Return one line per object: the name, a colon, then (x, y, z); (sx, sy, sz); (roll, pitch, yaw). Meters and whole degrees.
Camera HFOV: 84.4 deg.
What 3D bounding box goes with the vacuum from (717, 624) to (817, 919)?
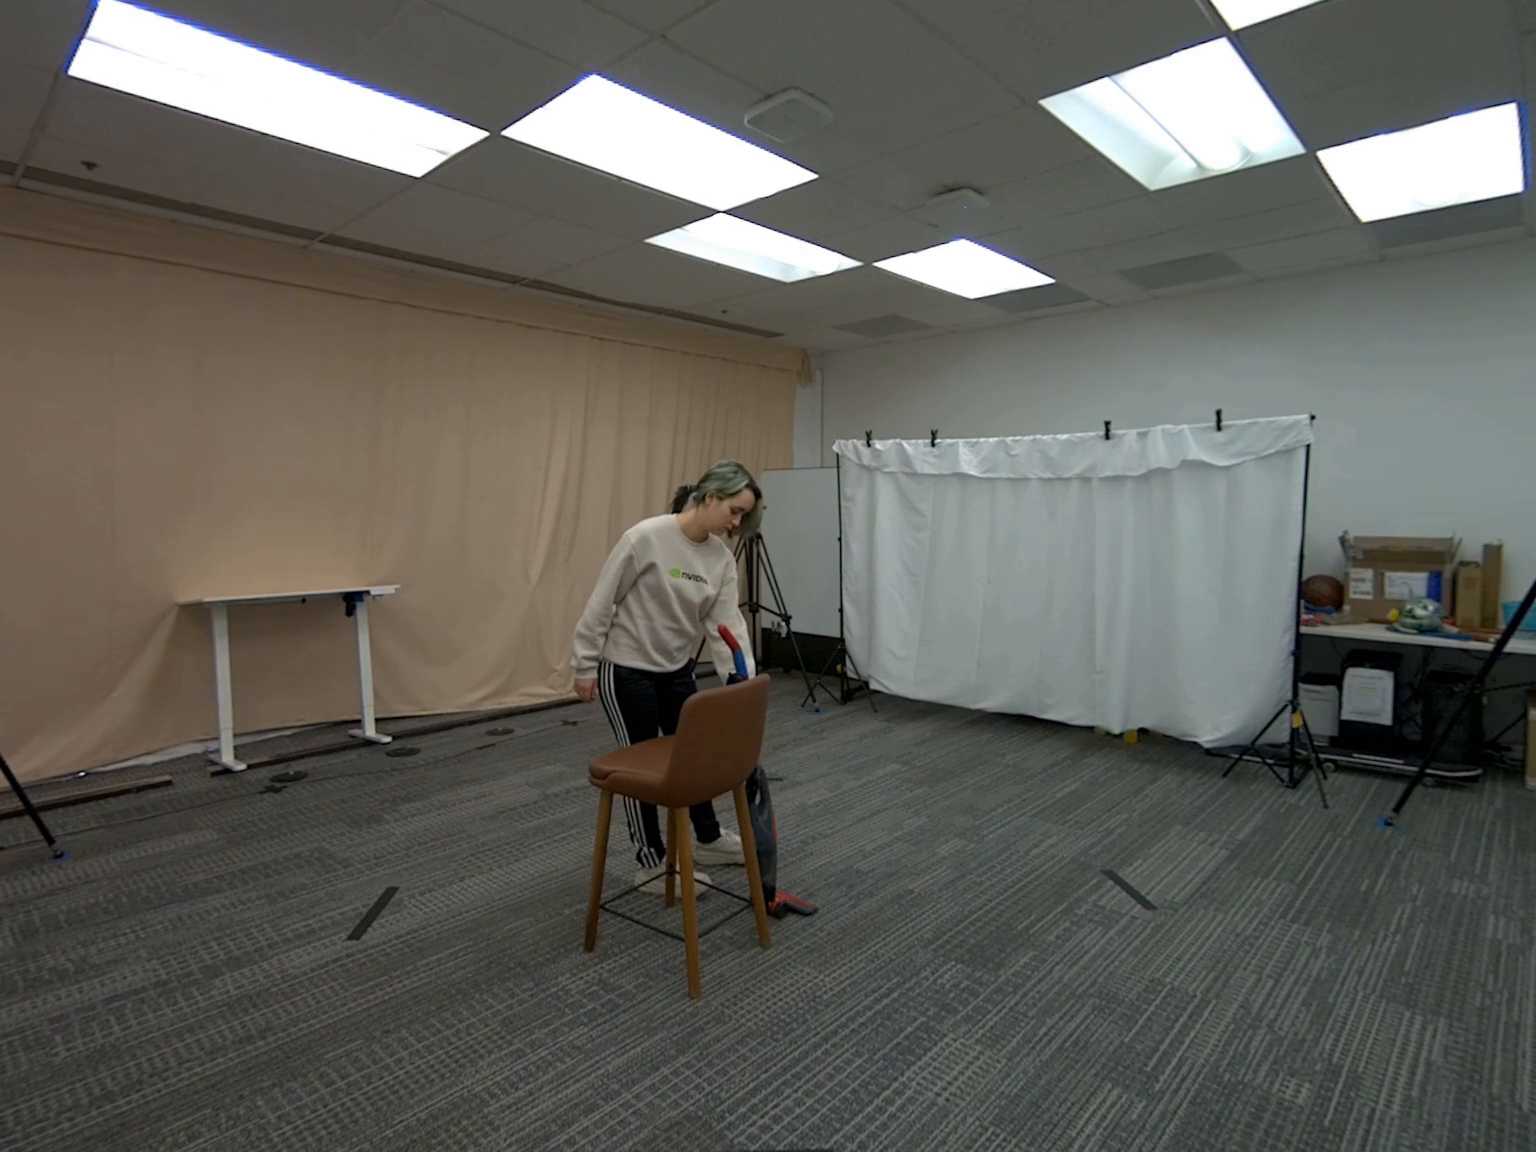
vacuum: (-0.052, 0.663, 2.781); (0.141, 1.036, 0.261); (-23, 19, -37)
